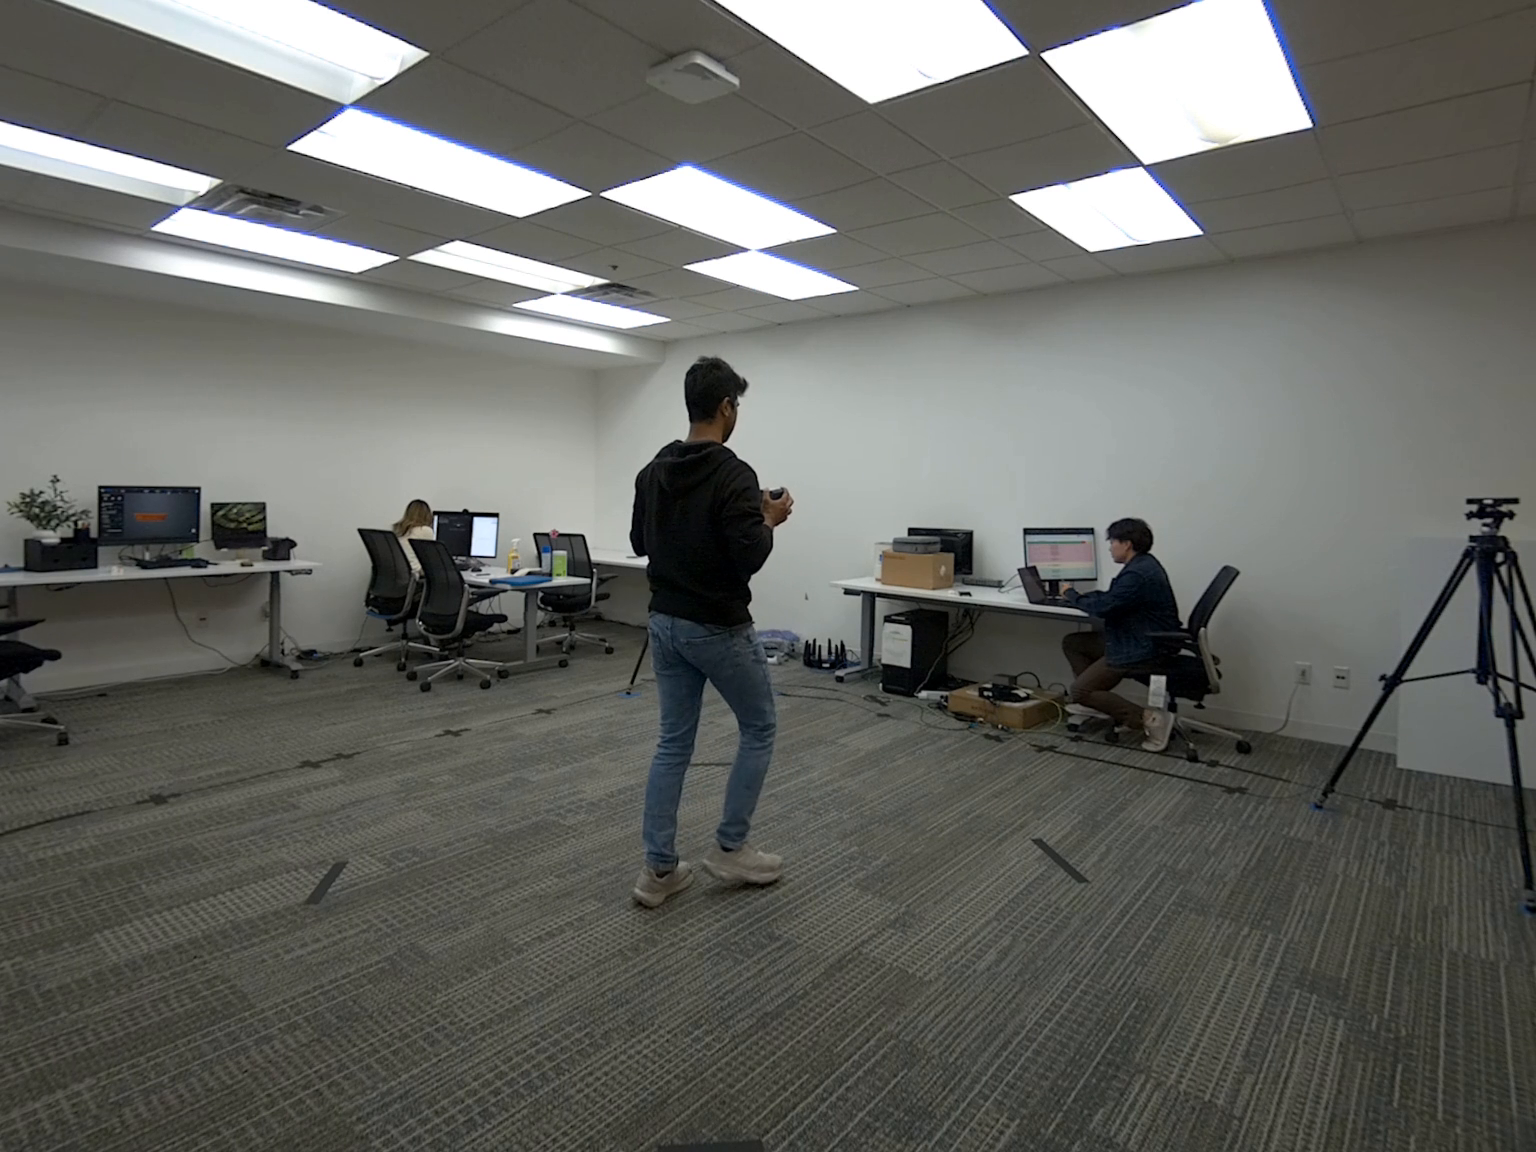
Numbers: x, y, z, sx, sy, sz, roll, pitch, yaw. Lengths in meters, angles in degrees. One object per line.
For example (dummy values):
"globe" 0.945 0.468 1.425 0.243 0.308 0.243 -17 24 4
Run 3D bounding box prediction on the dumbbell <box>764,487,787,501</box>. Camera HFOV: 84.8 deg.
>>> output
"dumbbell" -0.078 -0.264 3.070 0.304 0.124 0.104 9 -13 43
